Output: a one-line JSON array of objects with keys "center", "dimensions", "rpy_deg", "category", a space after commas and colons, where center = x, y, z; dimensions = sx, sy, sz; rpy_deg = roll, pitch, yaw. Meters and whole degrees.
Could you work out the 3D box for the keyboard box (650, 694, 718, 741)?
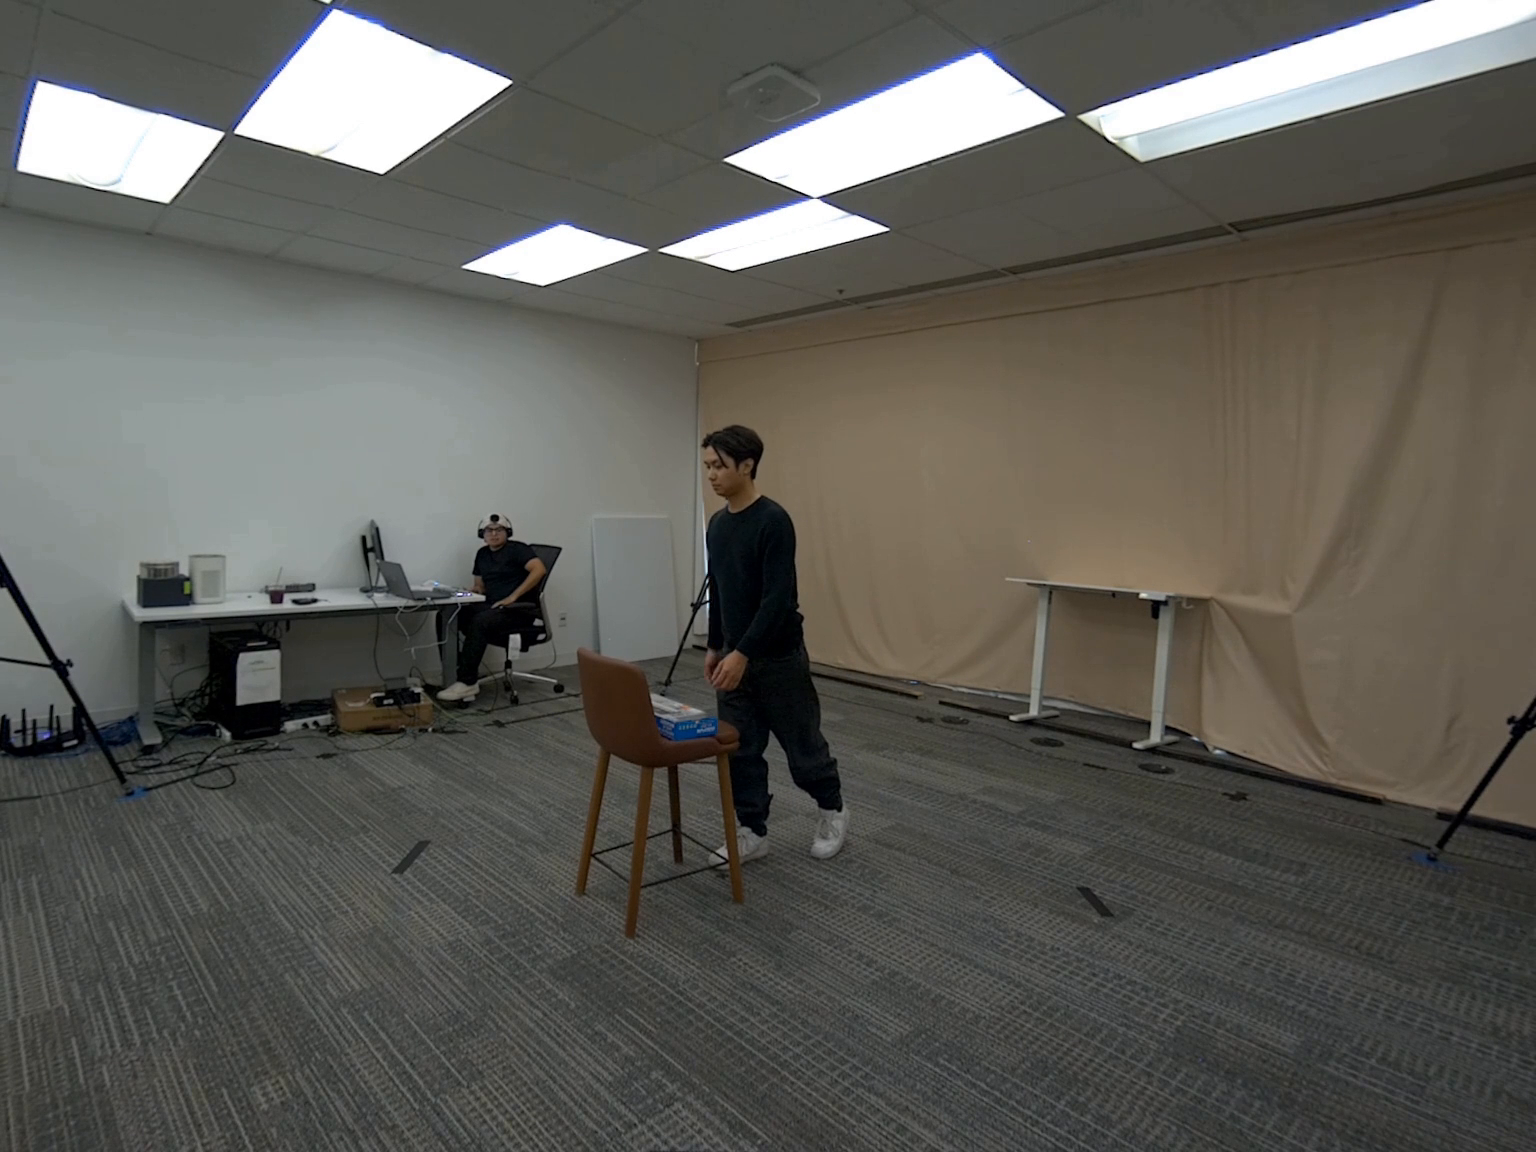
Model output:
[{"center": [-0.374, 0.468, 2.900], "dimensions": [0.172, 0.059, 0.448], "rpy_deg": [0, 5, -41], "category": "keyboard box"}]
